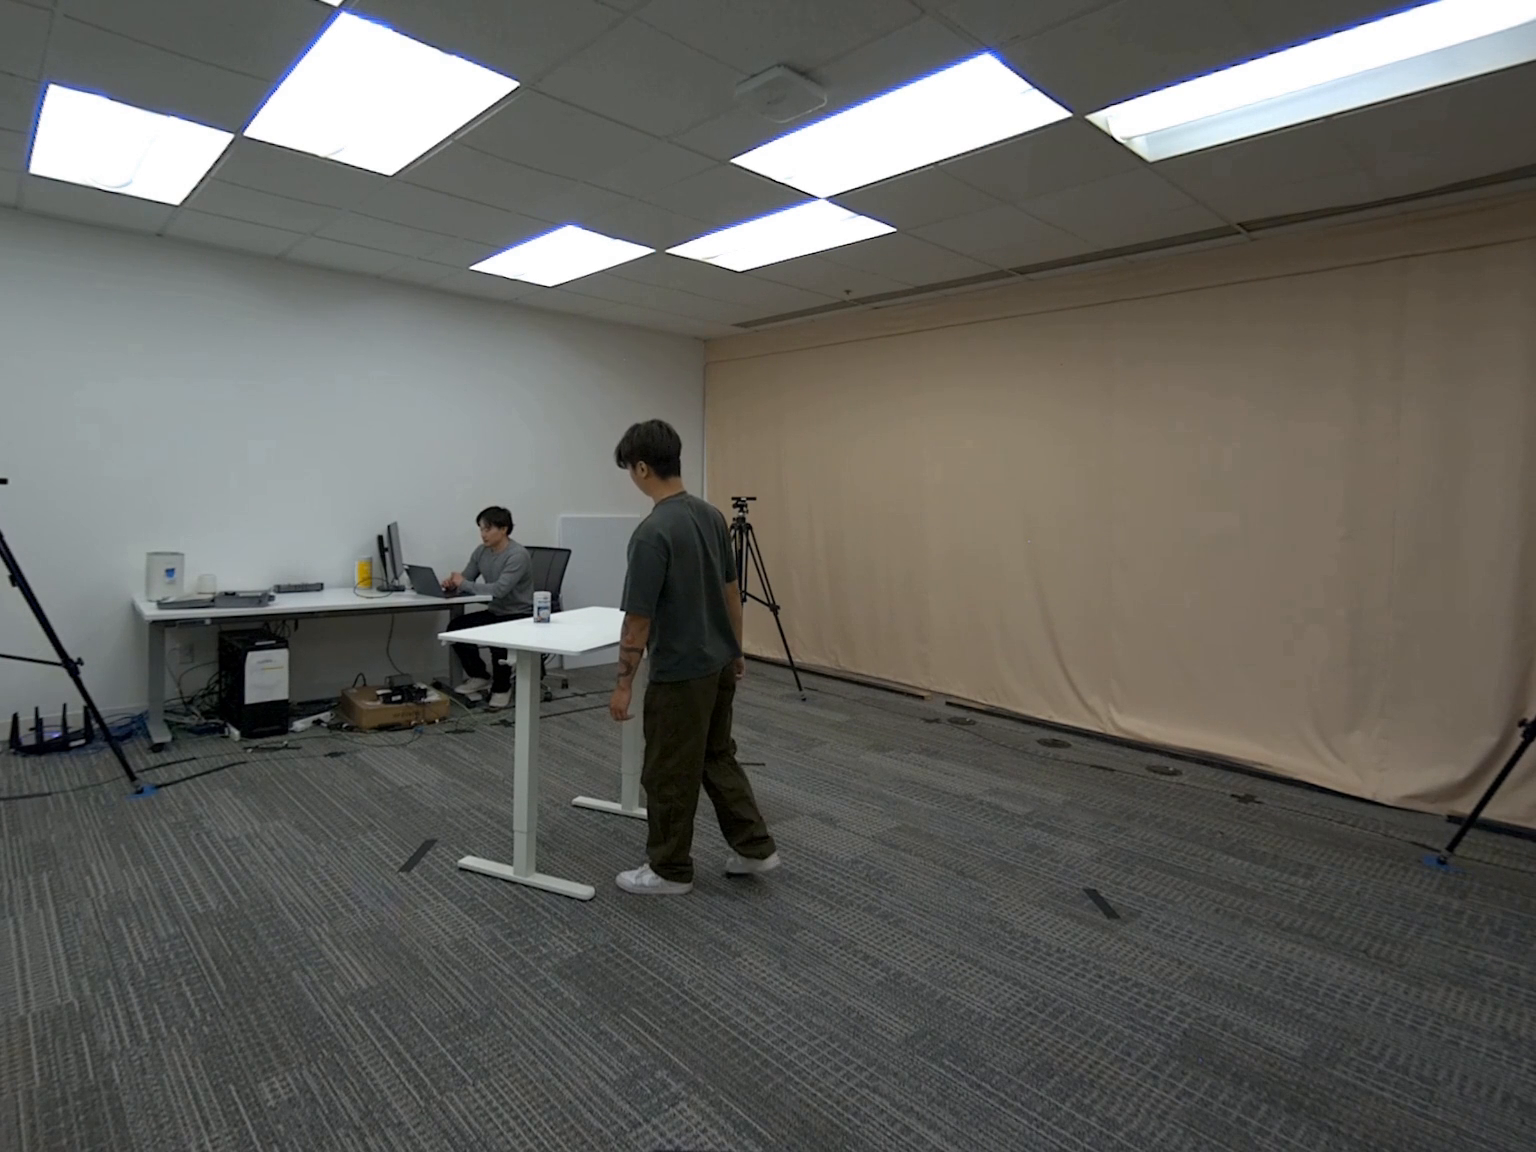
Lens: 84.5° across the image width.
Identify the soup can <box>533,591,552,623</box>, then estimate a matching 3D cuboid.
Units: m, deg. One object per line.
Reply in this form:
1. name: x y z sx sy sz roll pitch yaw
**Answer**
1. soup can: -0.900 0.126 3.345 0.067 0.121 0.067 -2 4 -1
